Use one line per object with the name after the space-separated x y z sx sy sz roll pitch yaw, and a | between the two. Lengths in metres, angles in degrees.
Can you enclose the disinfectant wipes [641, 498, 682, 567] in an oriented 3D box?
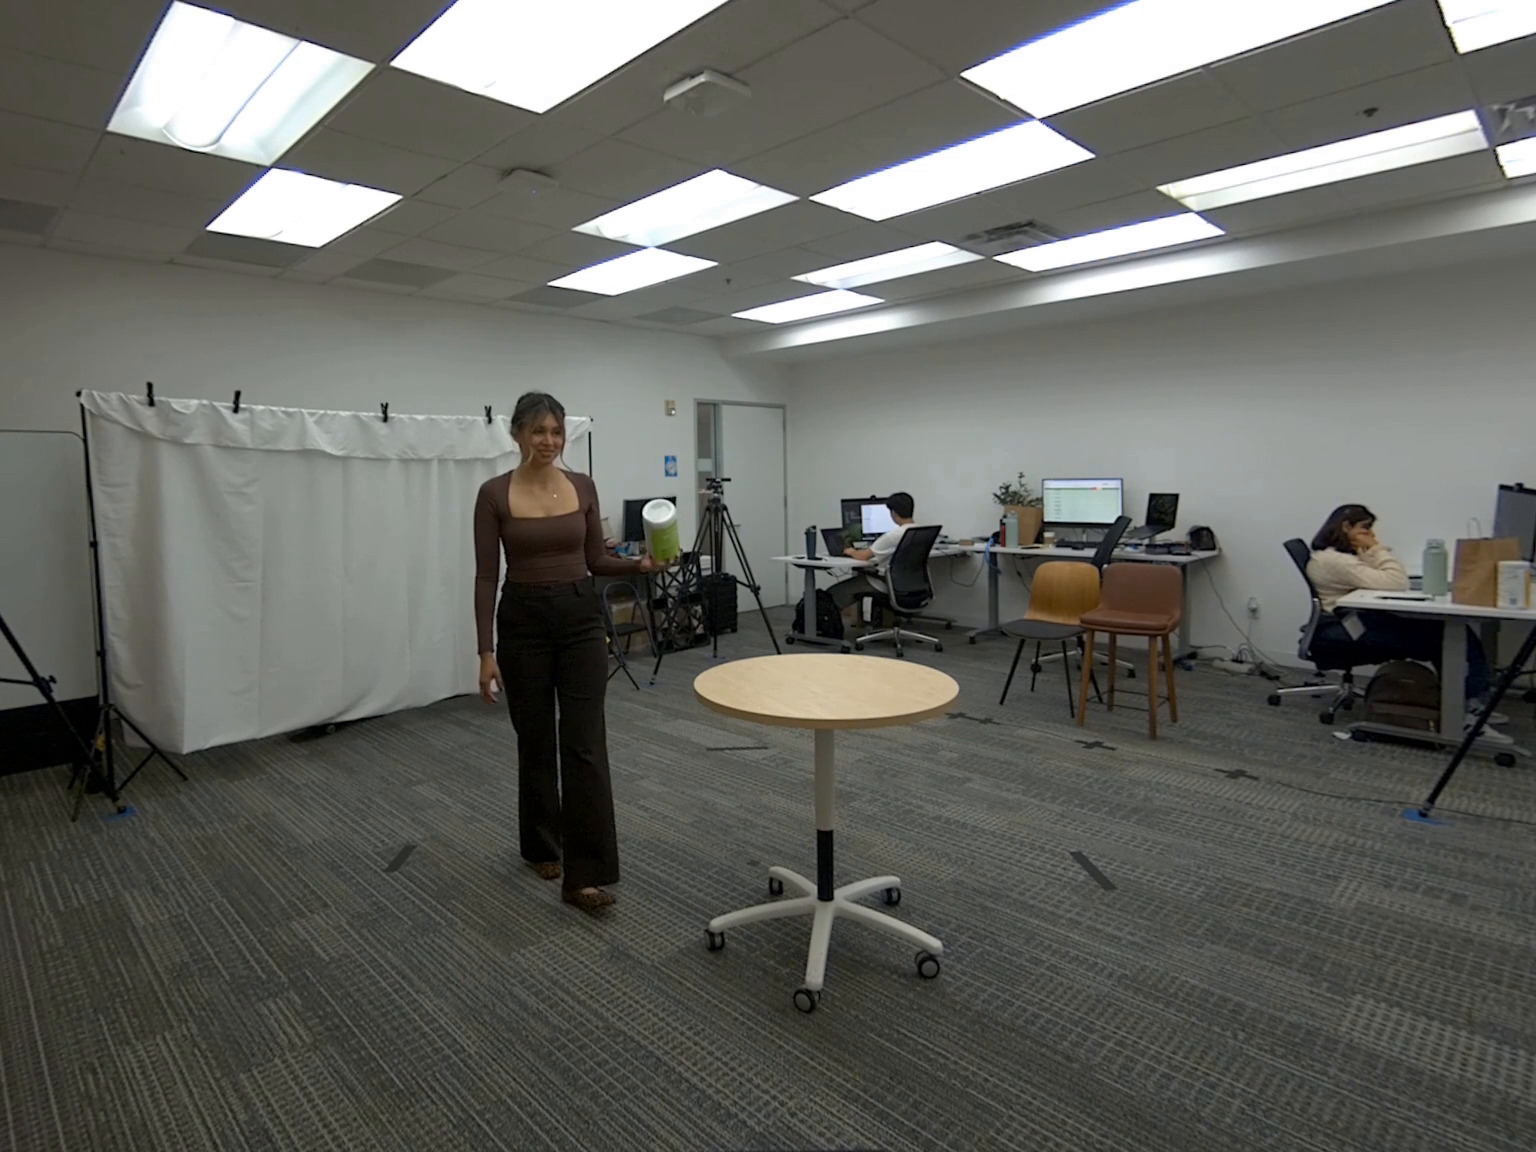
-0.349 -0.144 2.796 0.118 0.121 0.212 0 -40 -2 | disinfectant wipes
